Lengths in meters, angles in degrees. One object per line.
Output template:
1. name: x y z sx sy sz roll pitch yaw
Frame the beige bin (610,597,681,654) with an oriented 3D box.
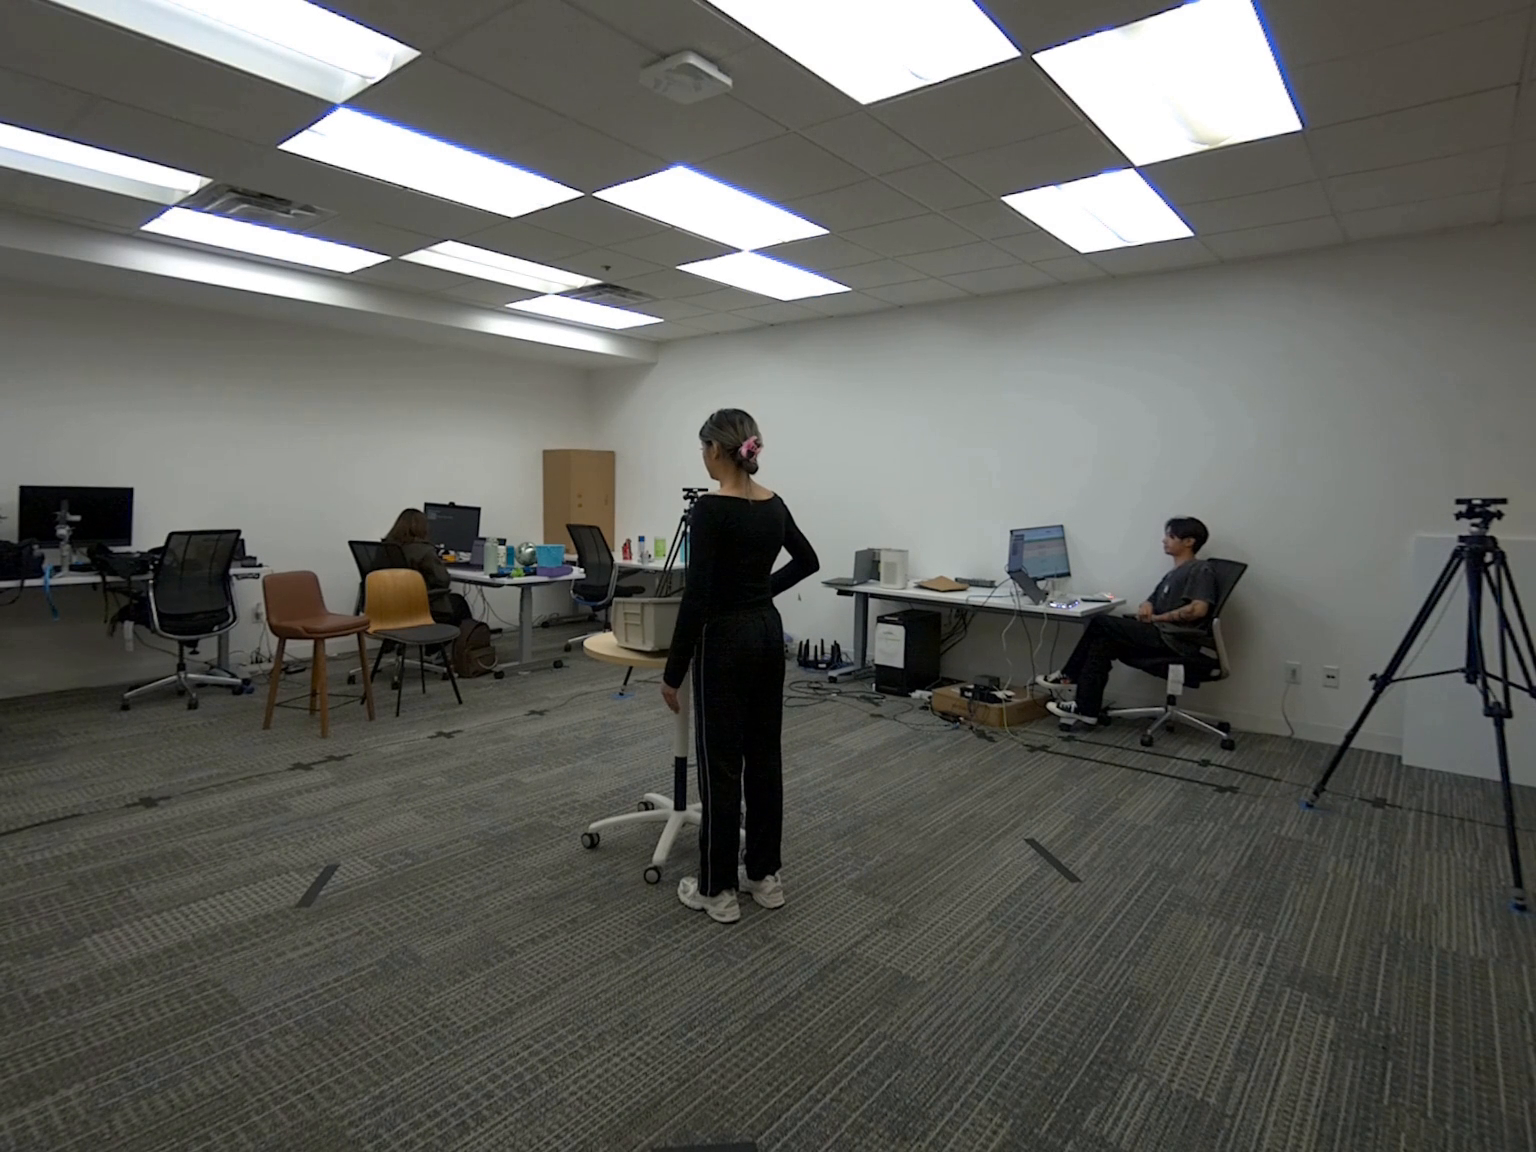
1. beige bin: -0.334 0.161 3.168 0.411 0.189 0.388 0 1 -31
